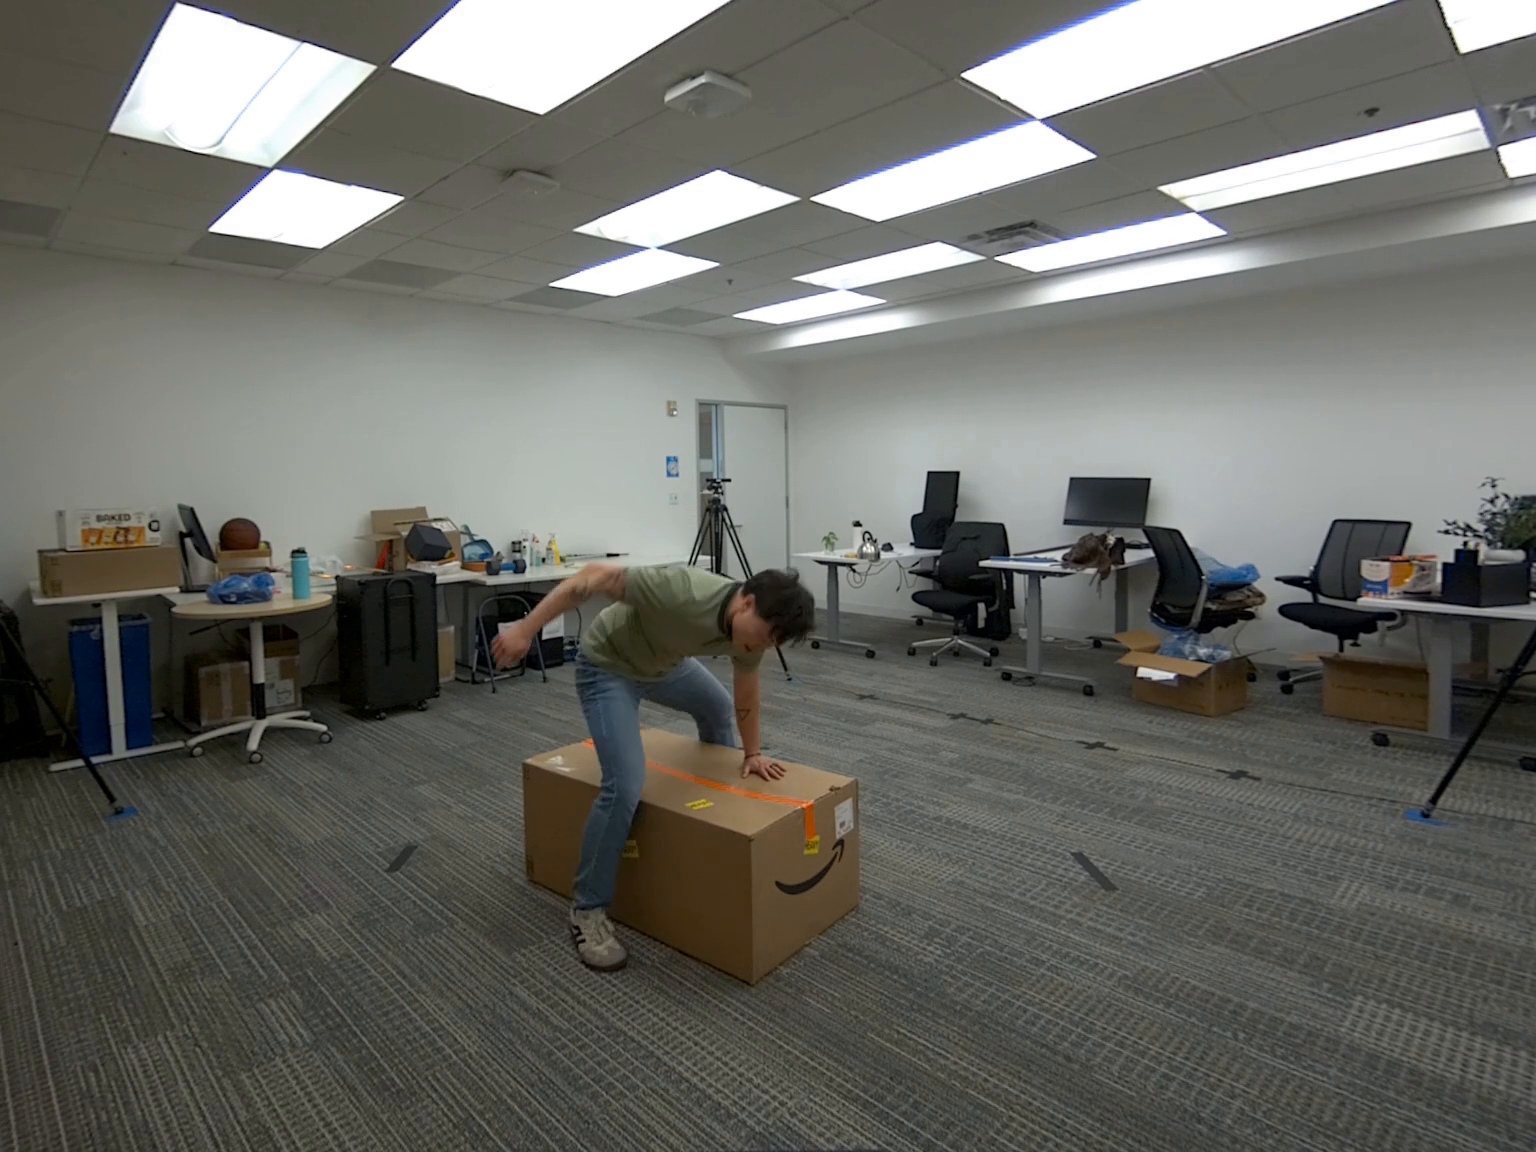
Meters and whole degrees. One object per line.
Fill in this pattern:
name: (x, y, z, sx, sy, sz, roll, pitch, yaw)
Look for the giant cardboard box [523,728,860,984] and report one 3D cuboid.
giant cardboard box: (-0.280, 0.863, 2.891, 1.057, 0.424, 0.563, 4, 8, 39)
